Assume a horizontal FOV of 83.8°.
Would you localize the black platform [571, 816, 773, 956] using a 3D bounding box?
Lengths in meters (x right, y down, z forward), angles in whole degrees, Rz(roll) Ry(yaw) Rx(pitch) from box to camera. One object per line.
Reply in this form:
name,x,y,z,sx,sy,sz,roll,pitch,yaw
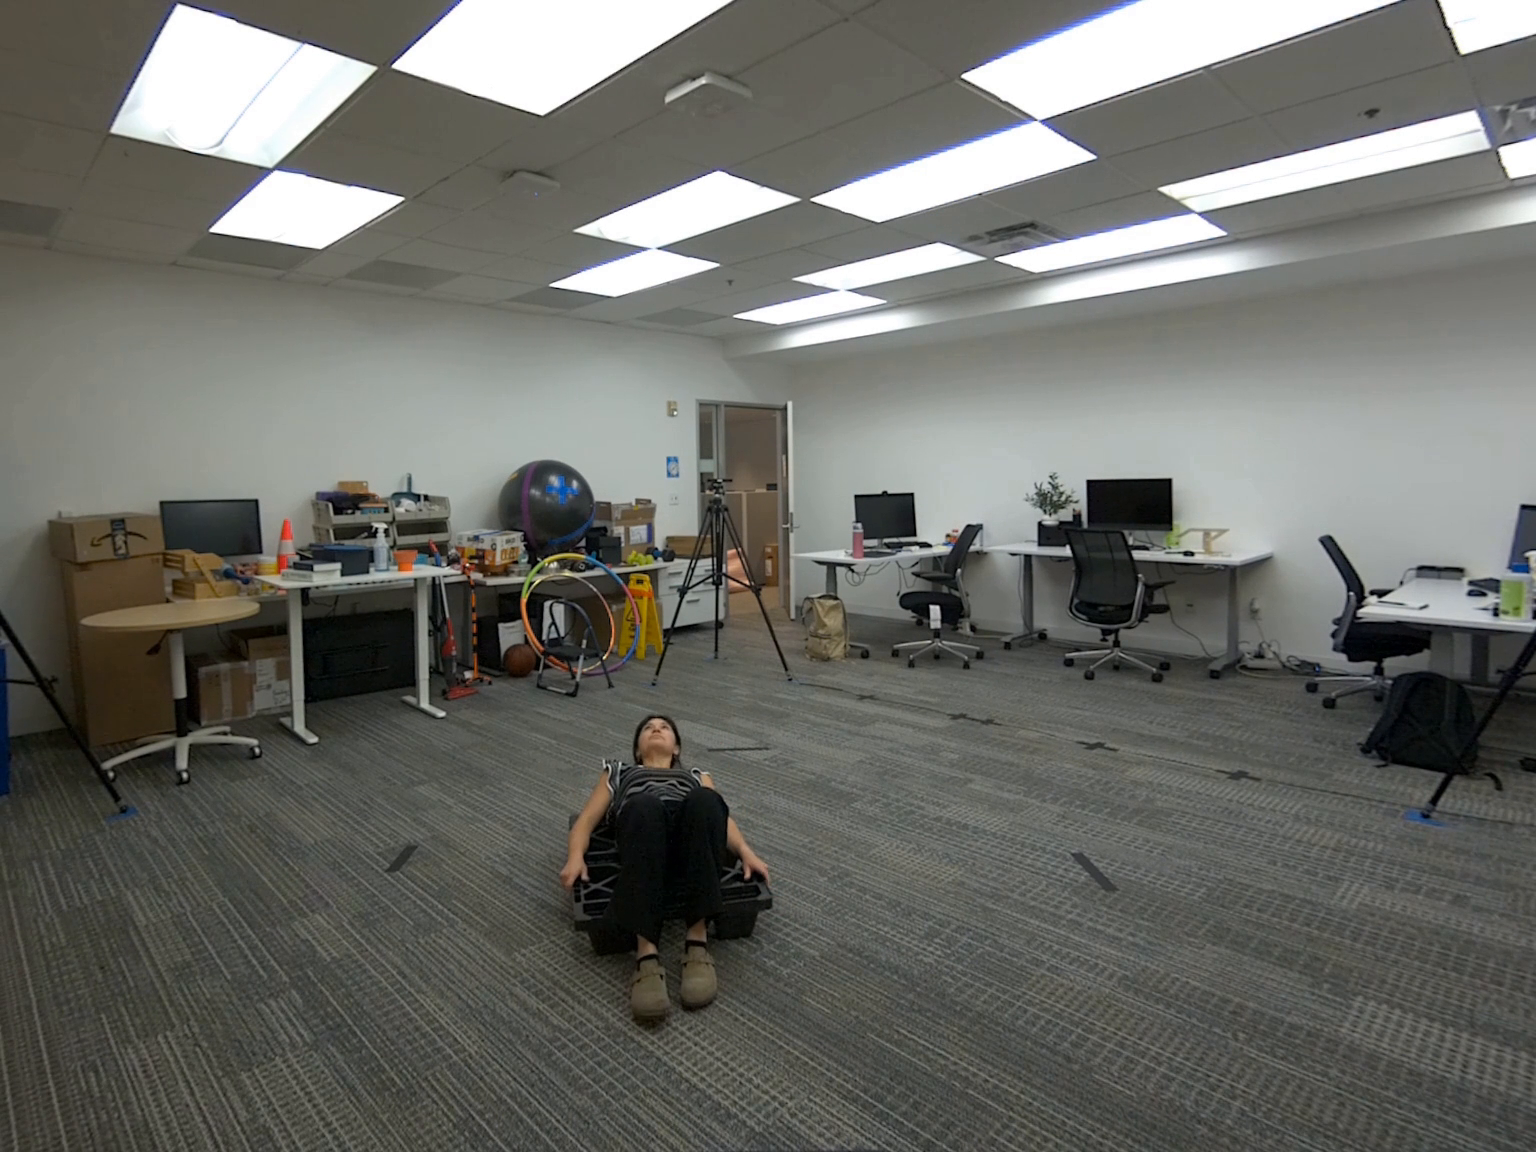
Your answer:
black platform,-0.365,1.006,2.912,0.598,0.142,0.818,-1,7,-12
